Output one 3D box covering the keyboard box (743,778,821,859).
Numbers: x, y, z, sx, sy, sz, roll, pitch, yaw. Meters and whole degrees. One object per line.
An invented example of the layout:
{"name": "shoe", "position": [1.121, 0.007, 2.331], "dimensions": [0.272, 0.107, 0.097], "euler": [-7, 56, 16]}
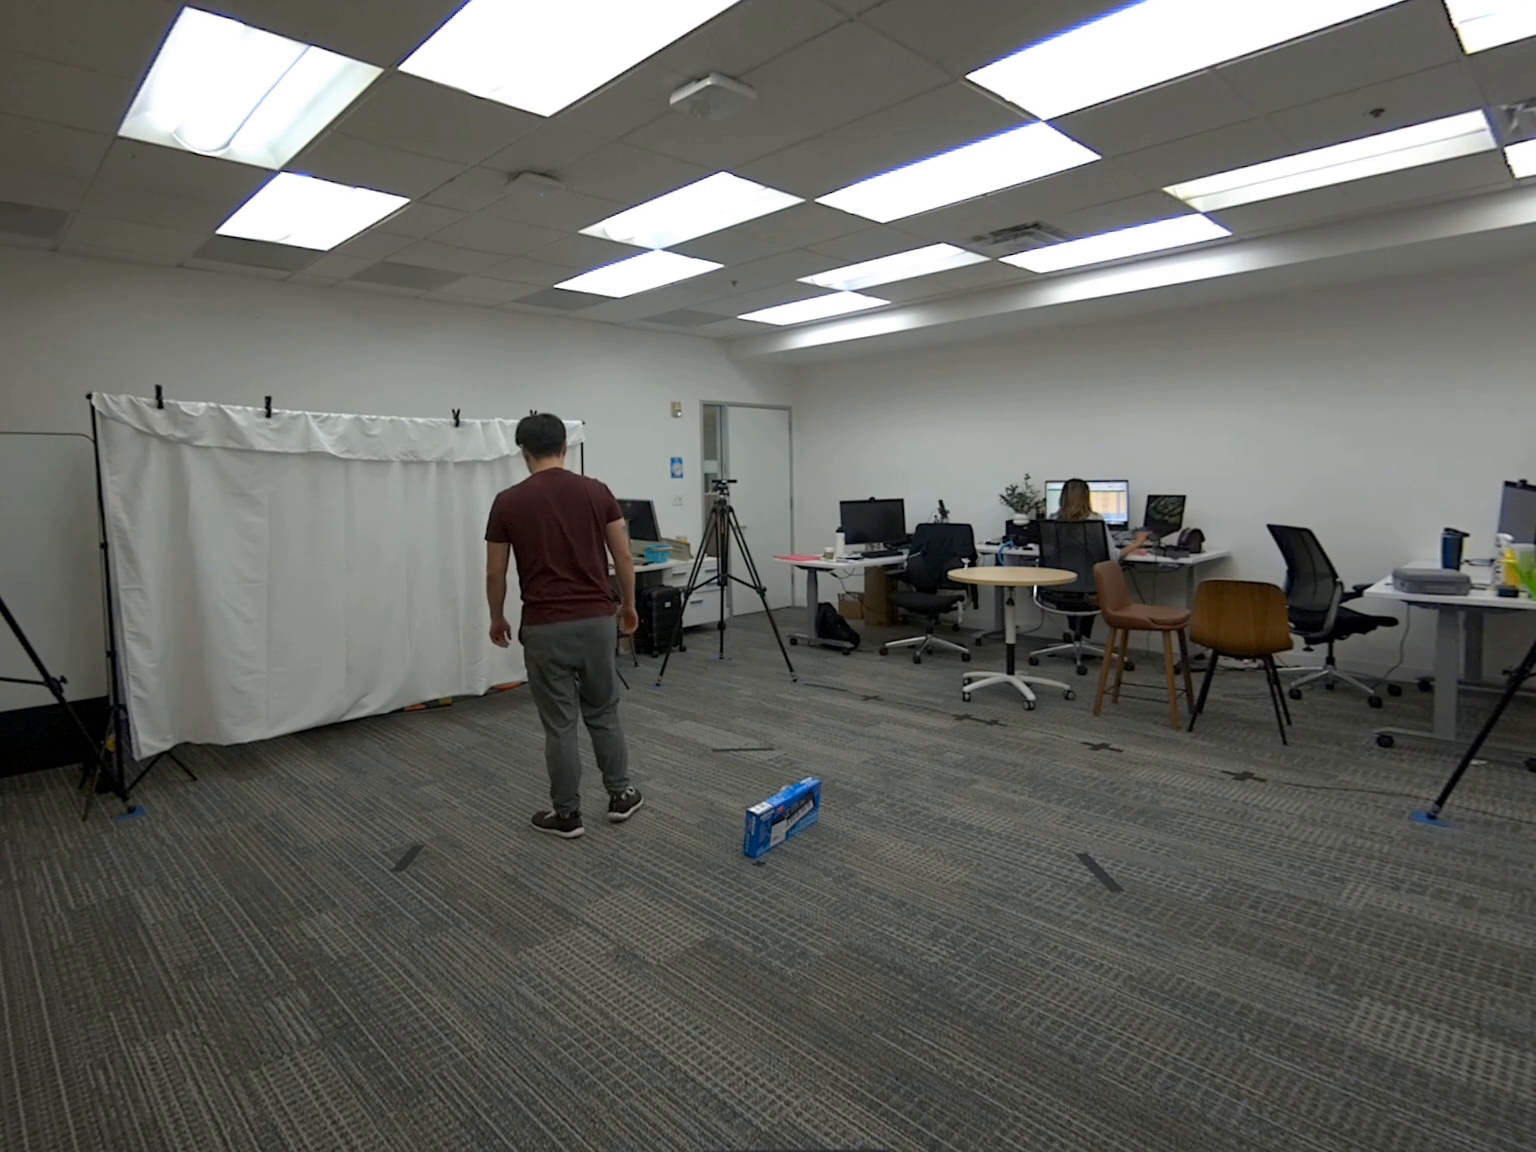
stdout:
{"name": "keyboard box", "position": [0.064, 0.936, 3.324], "dimensions": [0.061, 0.175, 0.426], "euler": [10, 11, 35]}
